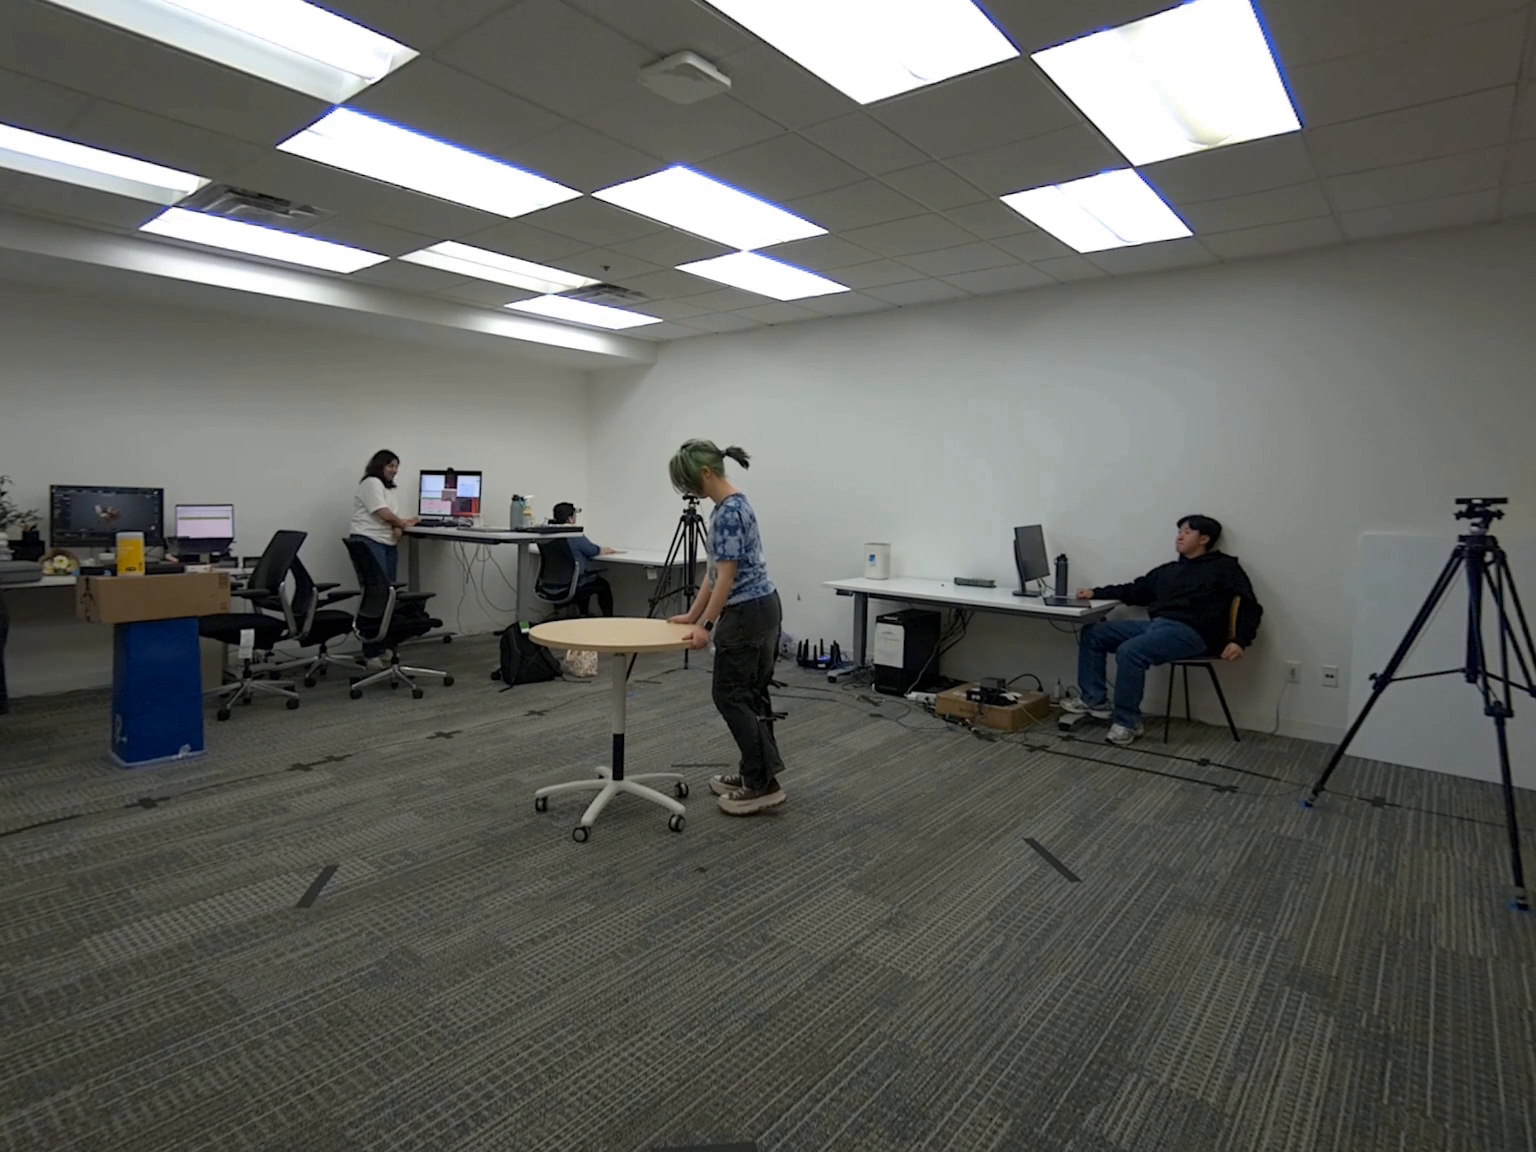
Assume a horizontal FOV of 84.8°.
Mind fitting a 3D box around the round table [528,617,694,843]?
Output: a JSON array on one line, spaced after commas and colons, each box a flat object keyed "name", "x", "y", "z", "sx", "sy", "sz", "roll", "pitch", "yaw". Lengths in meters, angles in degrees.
[{"name": "round table", "x": -0.654, "y": 0.622, "z": 3.641, "sx": 0.763, "sy": 0.791, "sz": 0.768, "roll": 1, "pitch": 4, "yaw": -2}]
